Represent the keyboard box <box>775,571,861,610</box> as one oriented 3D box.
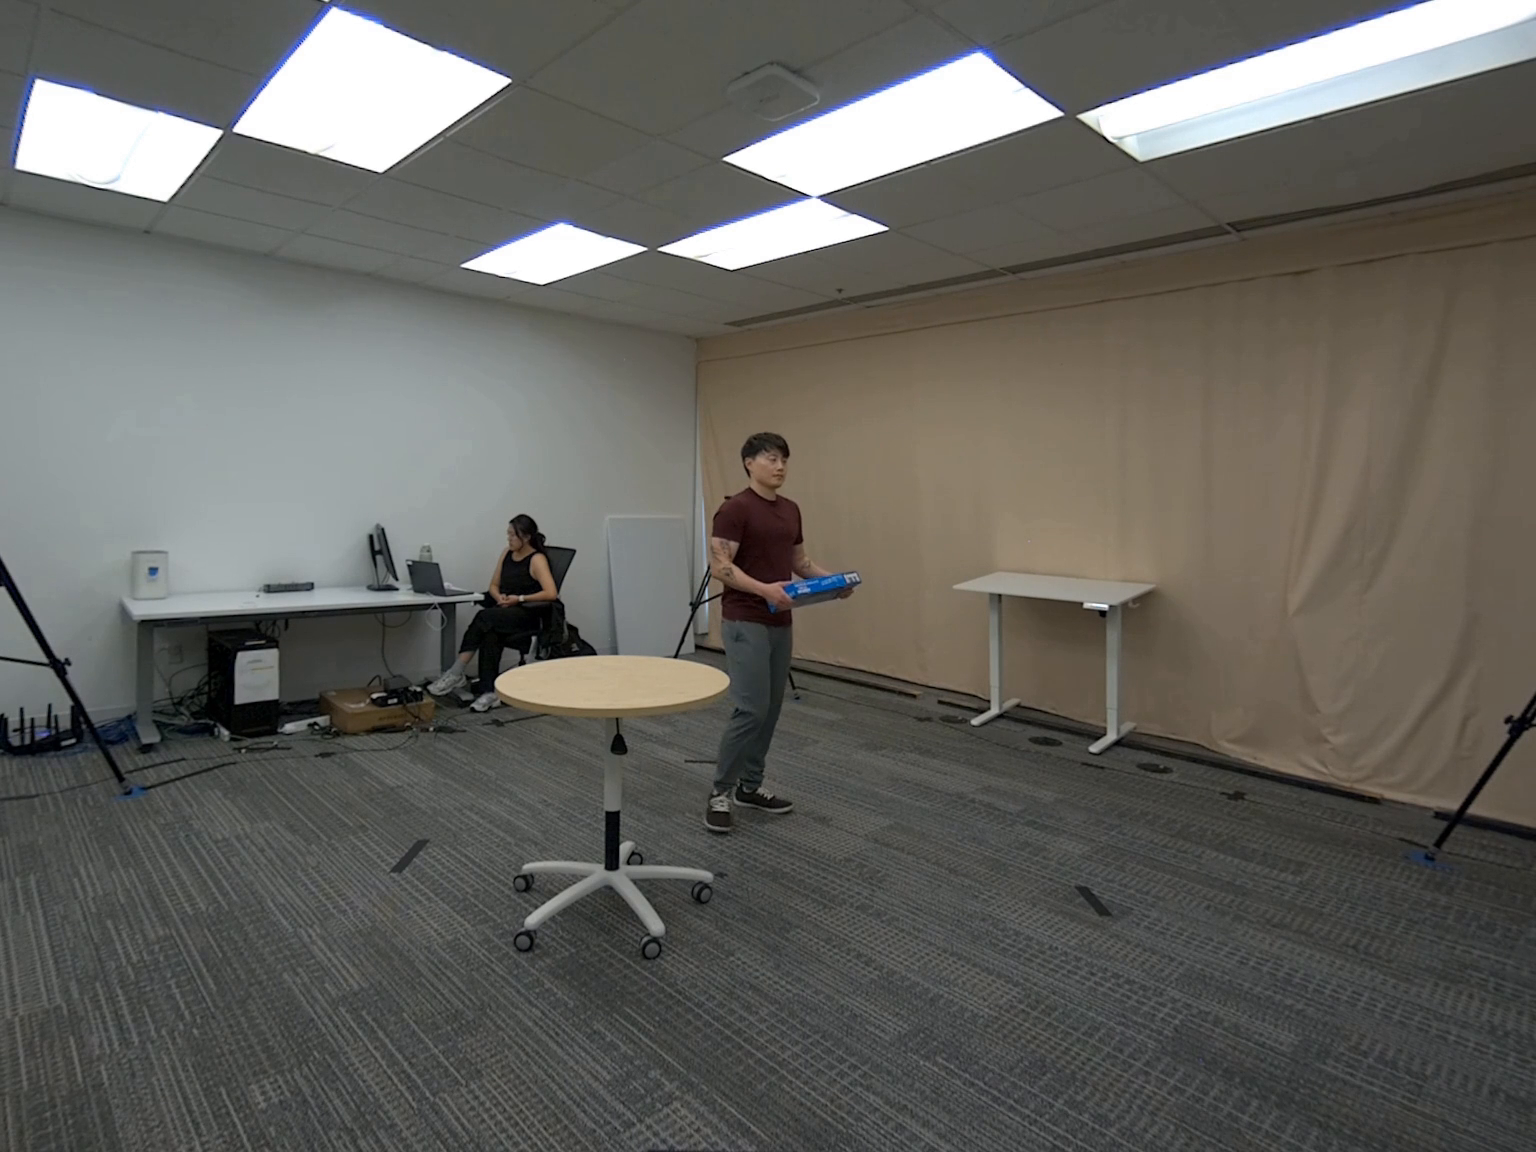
[{"bbox_3d":[0.178,0.069,3.598,0.428,0.060,0.177,-10,-21,-47],"label":"keyboard box"}]
